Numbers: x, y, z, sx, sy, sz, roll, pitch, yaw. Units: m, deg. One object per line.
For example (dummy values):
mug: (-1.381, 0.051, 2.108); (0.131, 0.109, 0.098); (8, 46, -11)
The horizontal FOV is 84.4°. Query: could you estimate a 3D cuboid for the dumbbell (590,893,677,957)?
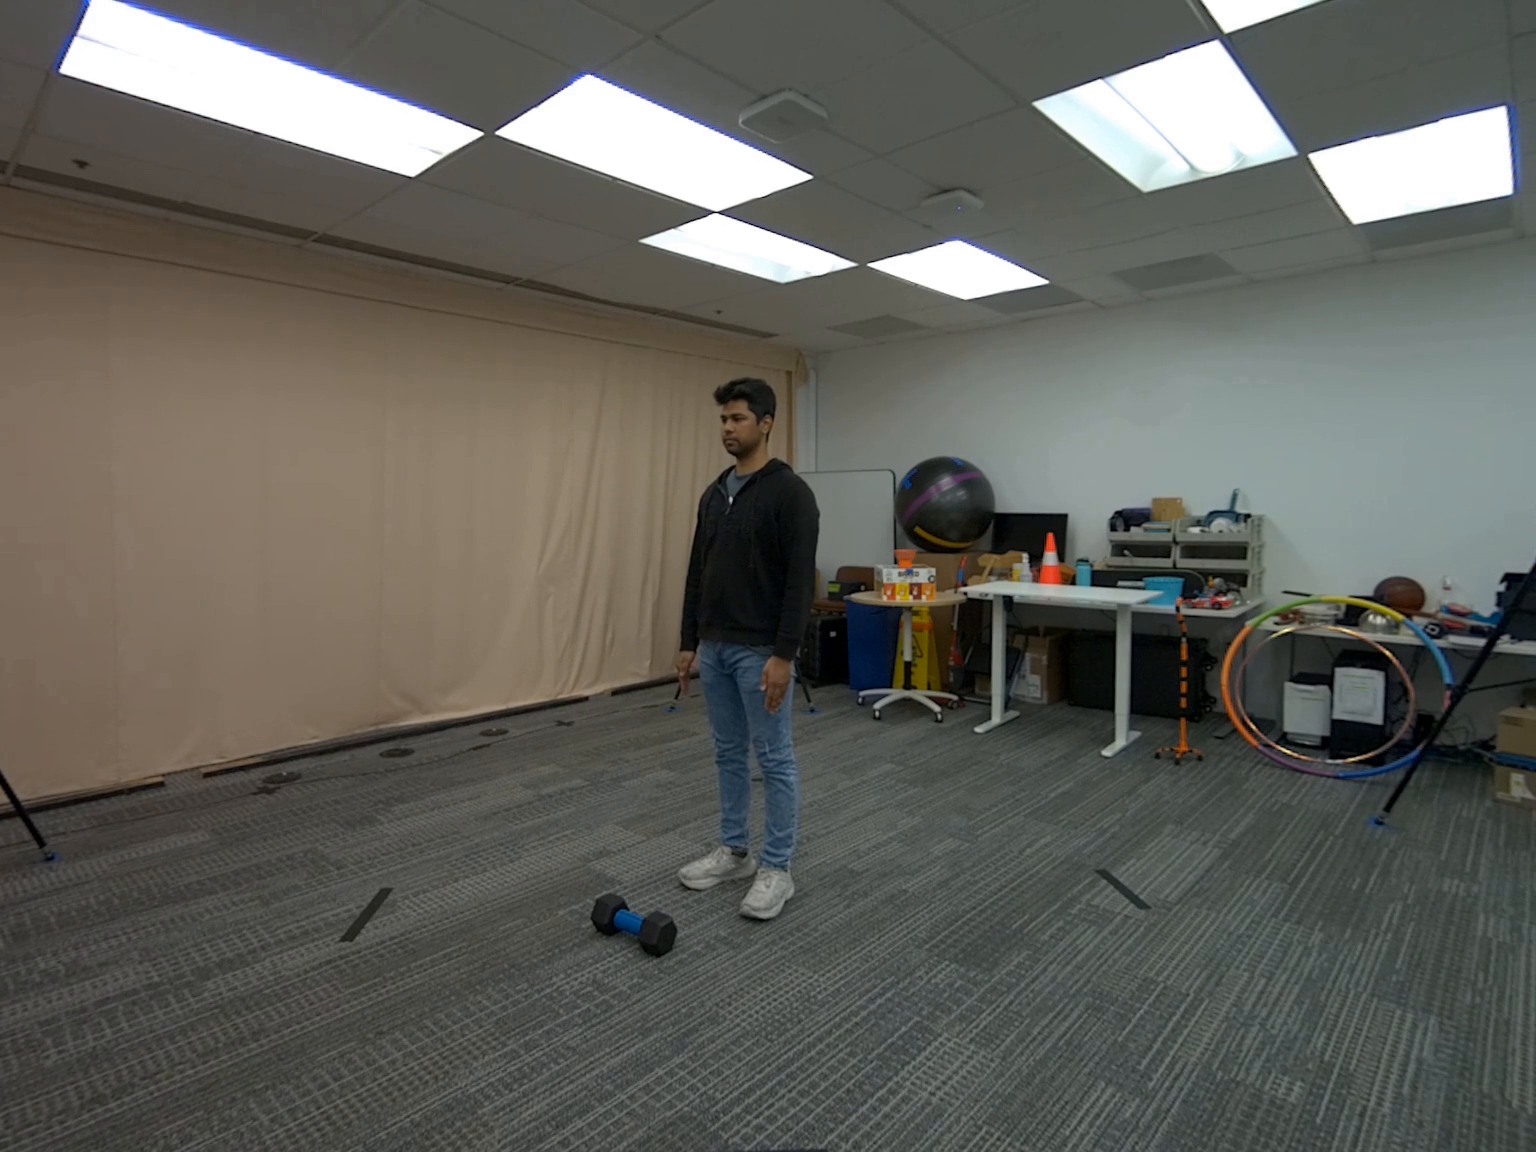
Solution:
dumbbell: (-0.432, 1.118, 2.699); (0.303, 0.108, 0.119); (3, 3, 36)
